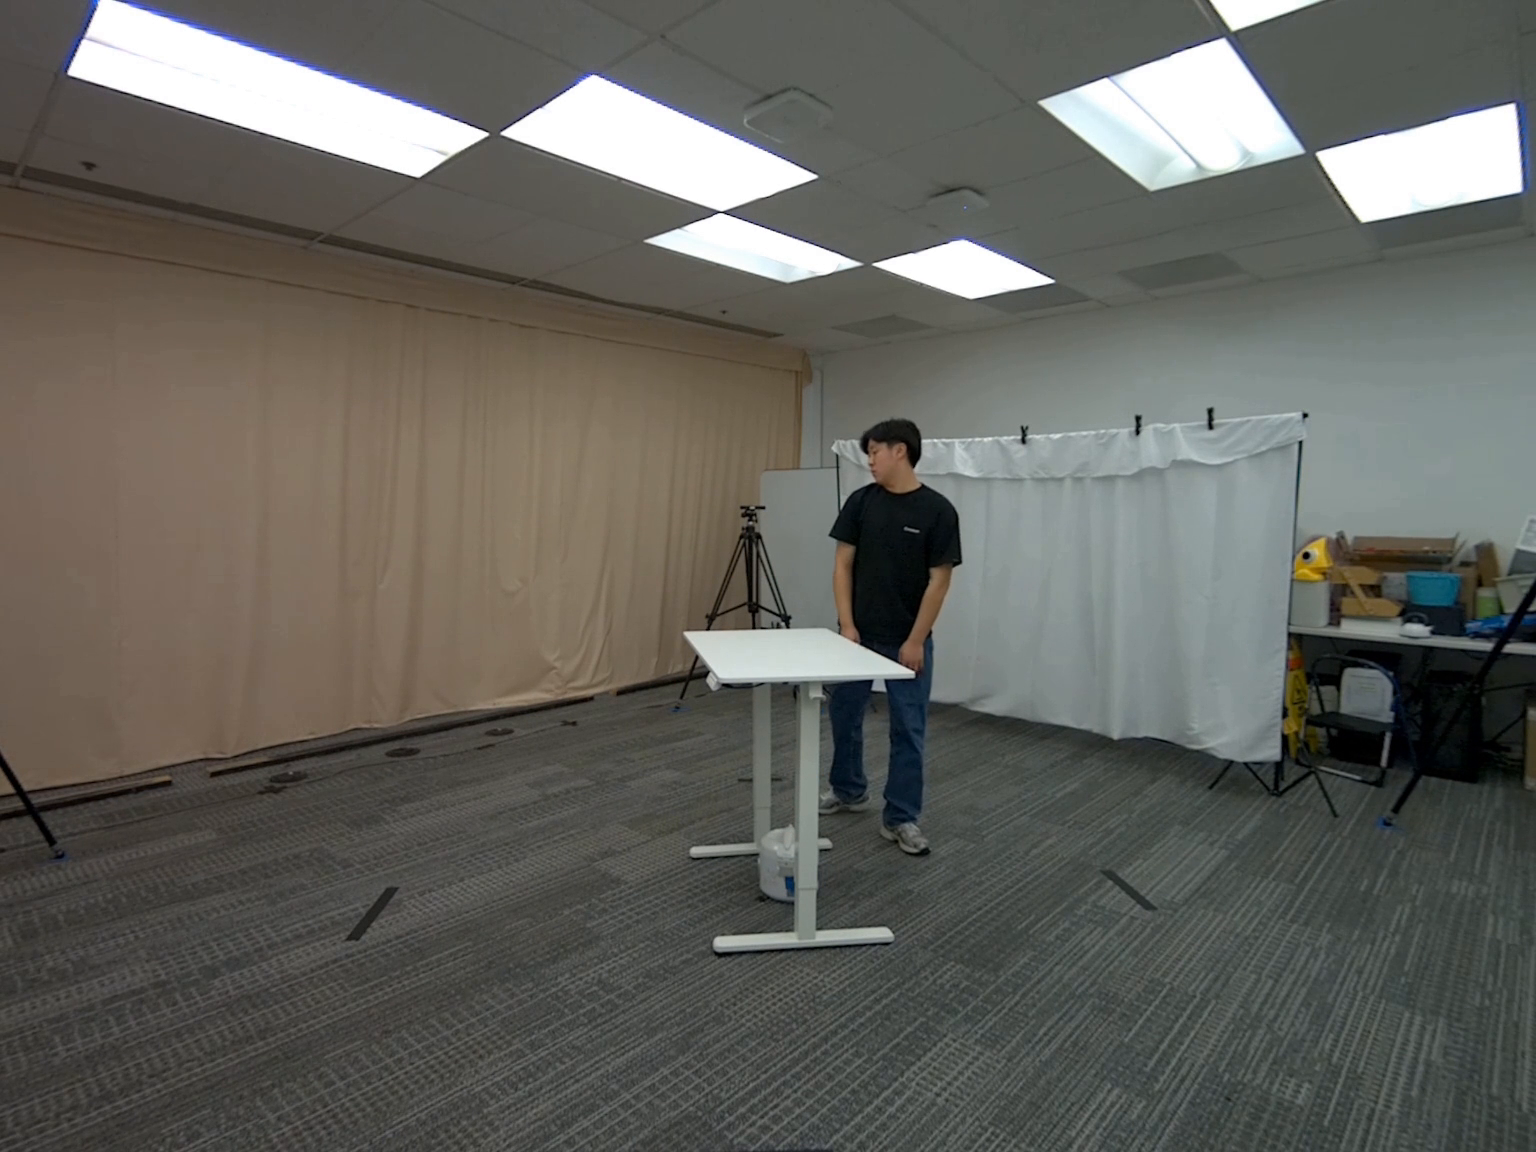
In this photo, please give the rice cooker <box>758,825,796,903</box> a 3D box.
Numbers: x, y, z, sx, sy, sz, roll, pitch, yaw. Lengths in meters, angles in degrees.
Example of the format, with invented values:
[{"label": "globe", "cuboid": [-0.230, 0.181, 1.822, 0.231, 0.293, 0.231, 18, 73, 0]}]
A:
[{"label": "rice cooker", "cuboid": [0.078, 1.023, 3.020, 0.220, 0.232, 0.219, 2, 4, 9]}]
